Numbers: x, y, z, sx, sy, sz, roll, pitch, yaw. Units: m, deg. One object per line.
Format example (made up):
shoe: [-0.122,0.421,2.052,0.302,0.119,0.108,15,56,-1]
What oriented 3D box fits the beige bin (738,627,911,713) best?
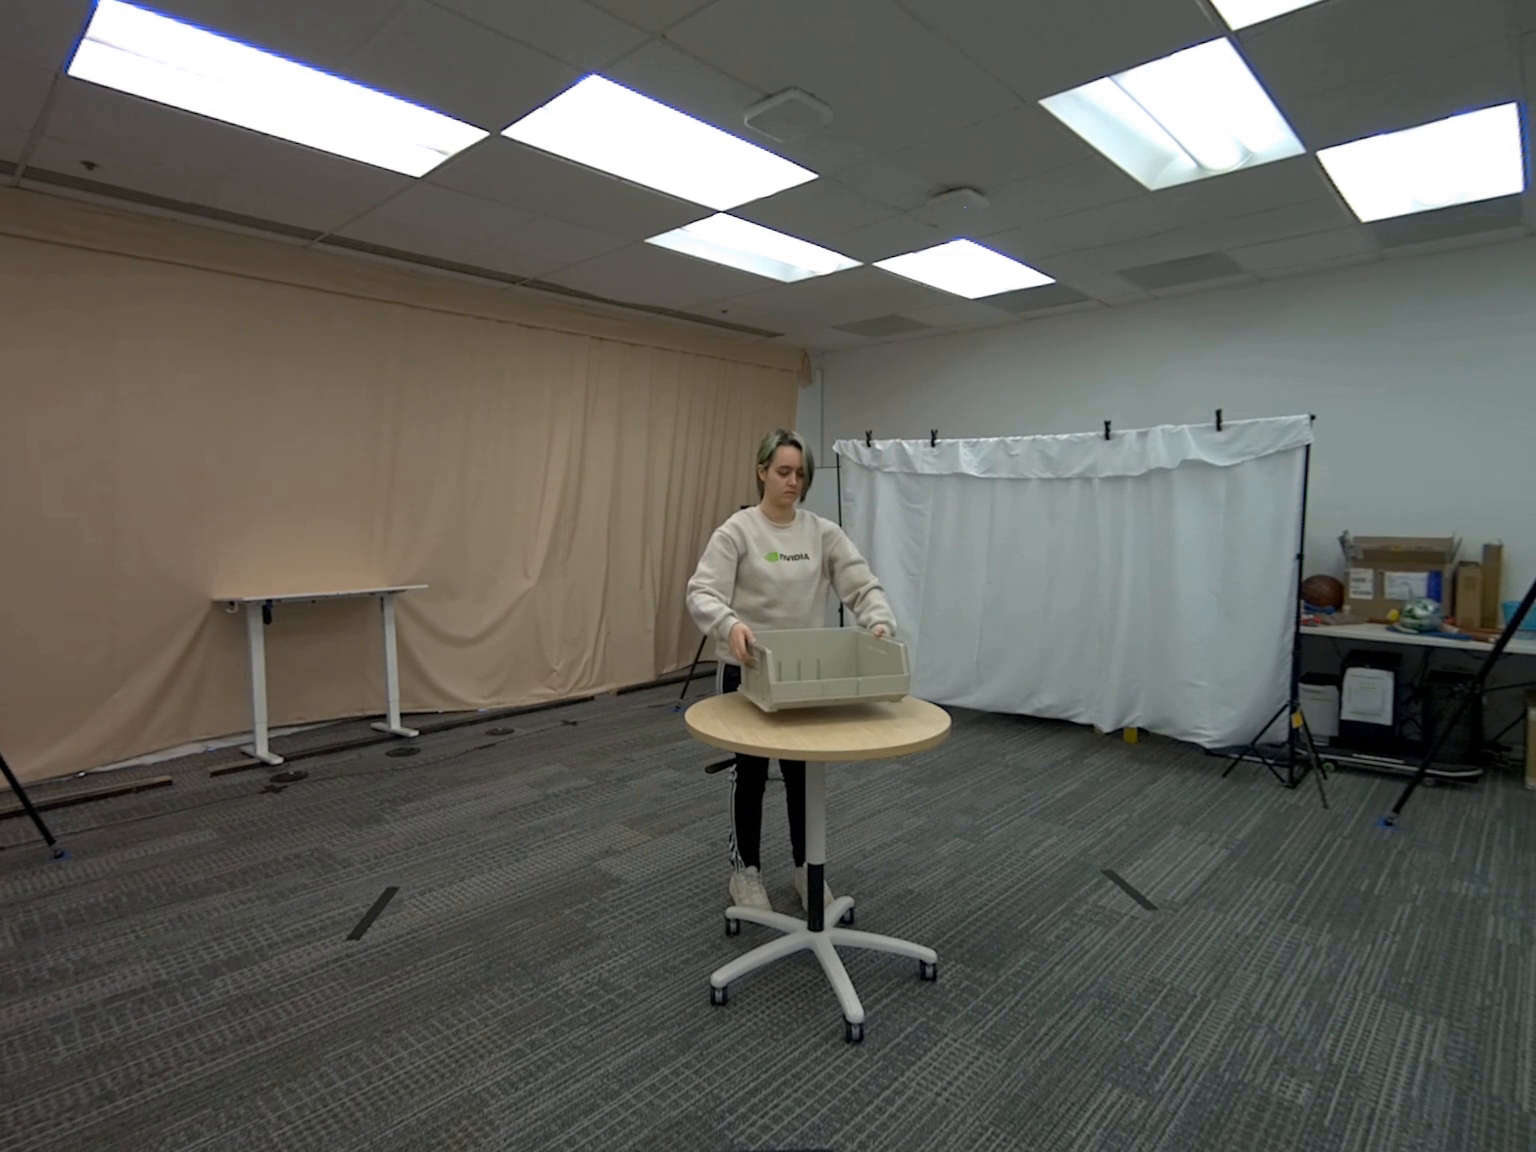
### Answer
beige bin: [0.149,0.269,2.504,0.416,0.189,0.384,-2,3,-16]
